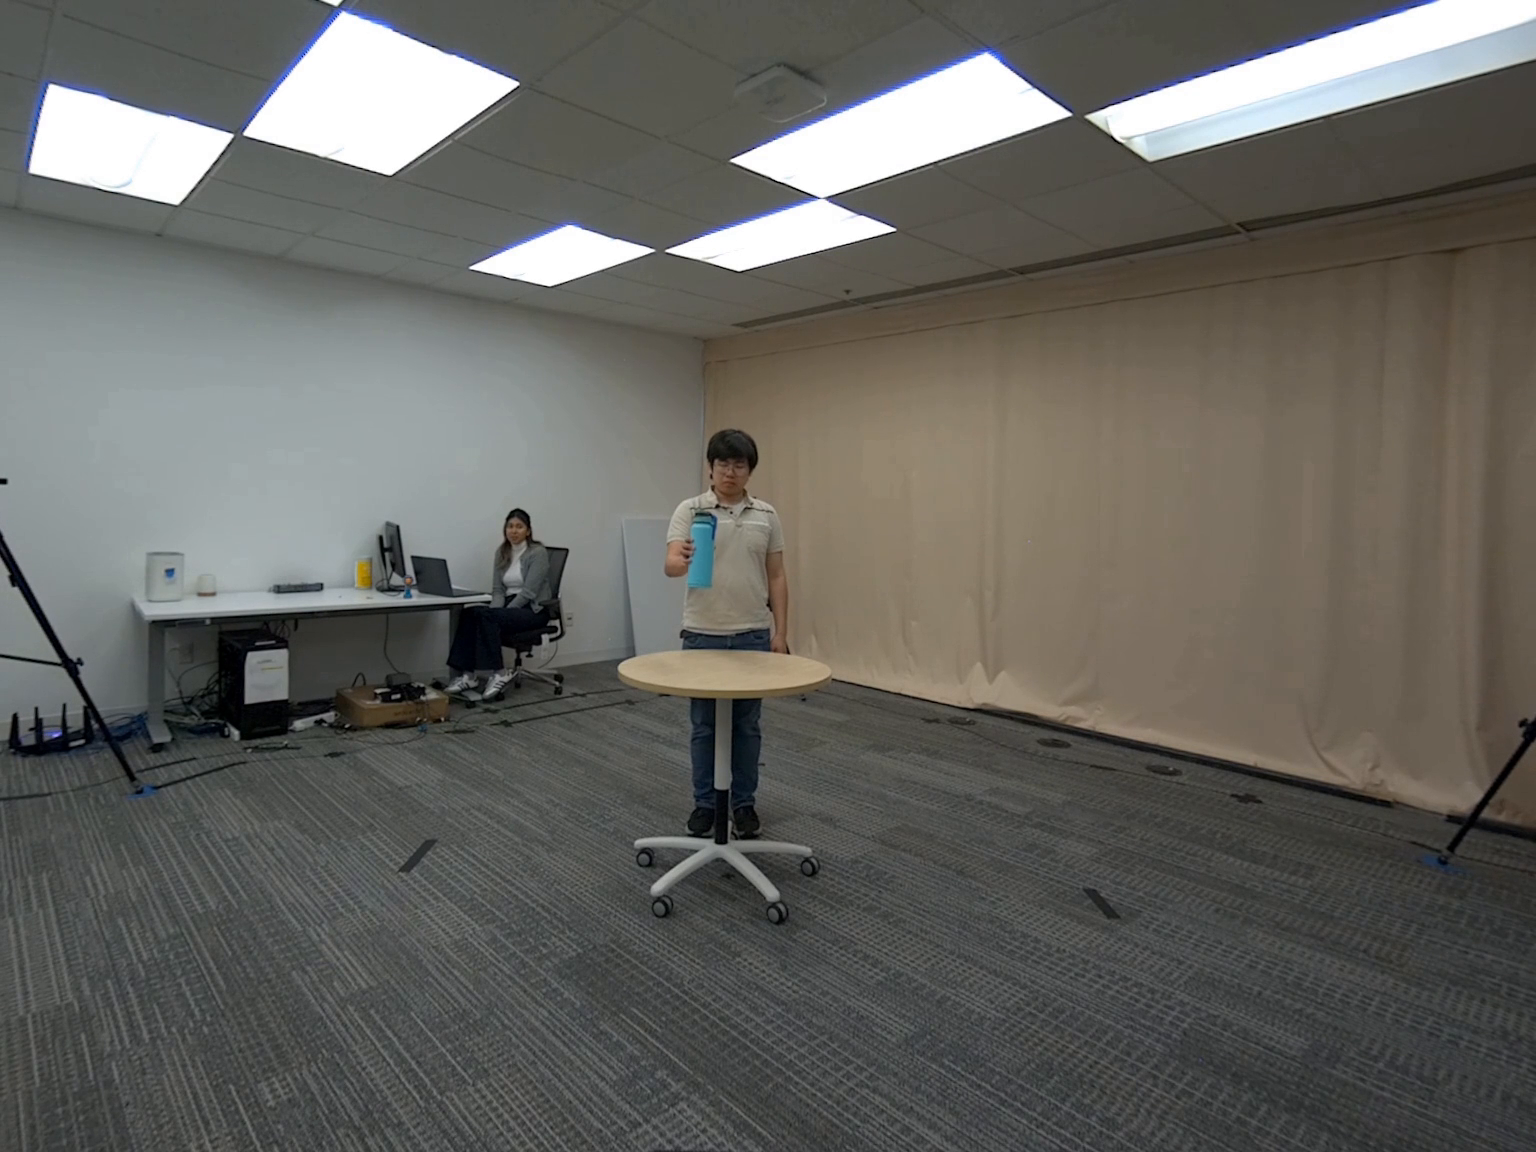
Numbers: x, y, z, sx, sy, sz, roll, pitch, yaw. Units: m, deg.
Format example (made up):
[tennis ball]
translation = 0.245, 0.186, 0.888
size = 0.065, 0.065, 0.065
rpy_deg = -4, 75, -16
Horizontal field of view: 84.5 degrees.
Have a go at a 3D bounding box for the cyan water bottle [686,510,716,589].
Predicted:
[cyan water bottle]
translation = -0.245, -0.092, 3.028
size = 0.092, 0.284, 0.092
rpy_deg = 8, -2, -1
